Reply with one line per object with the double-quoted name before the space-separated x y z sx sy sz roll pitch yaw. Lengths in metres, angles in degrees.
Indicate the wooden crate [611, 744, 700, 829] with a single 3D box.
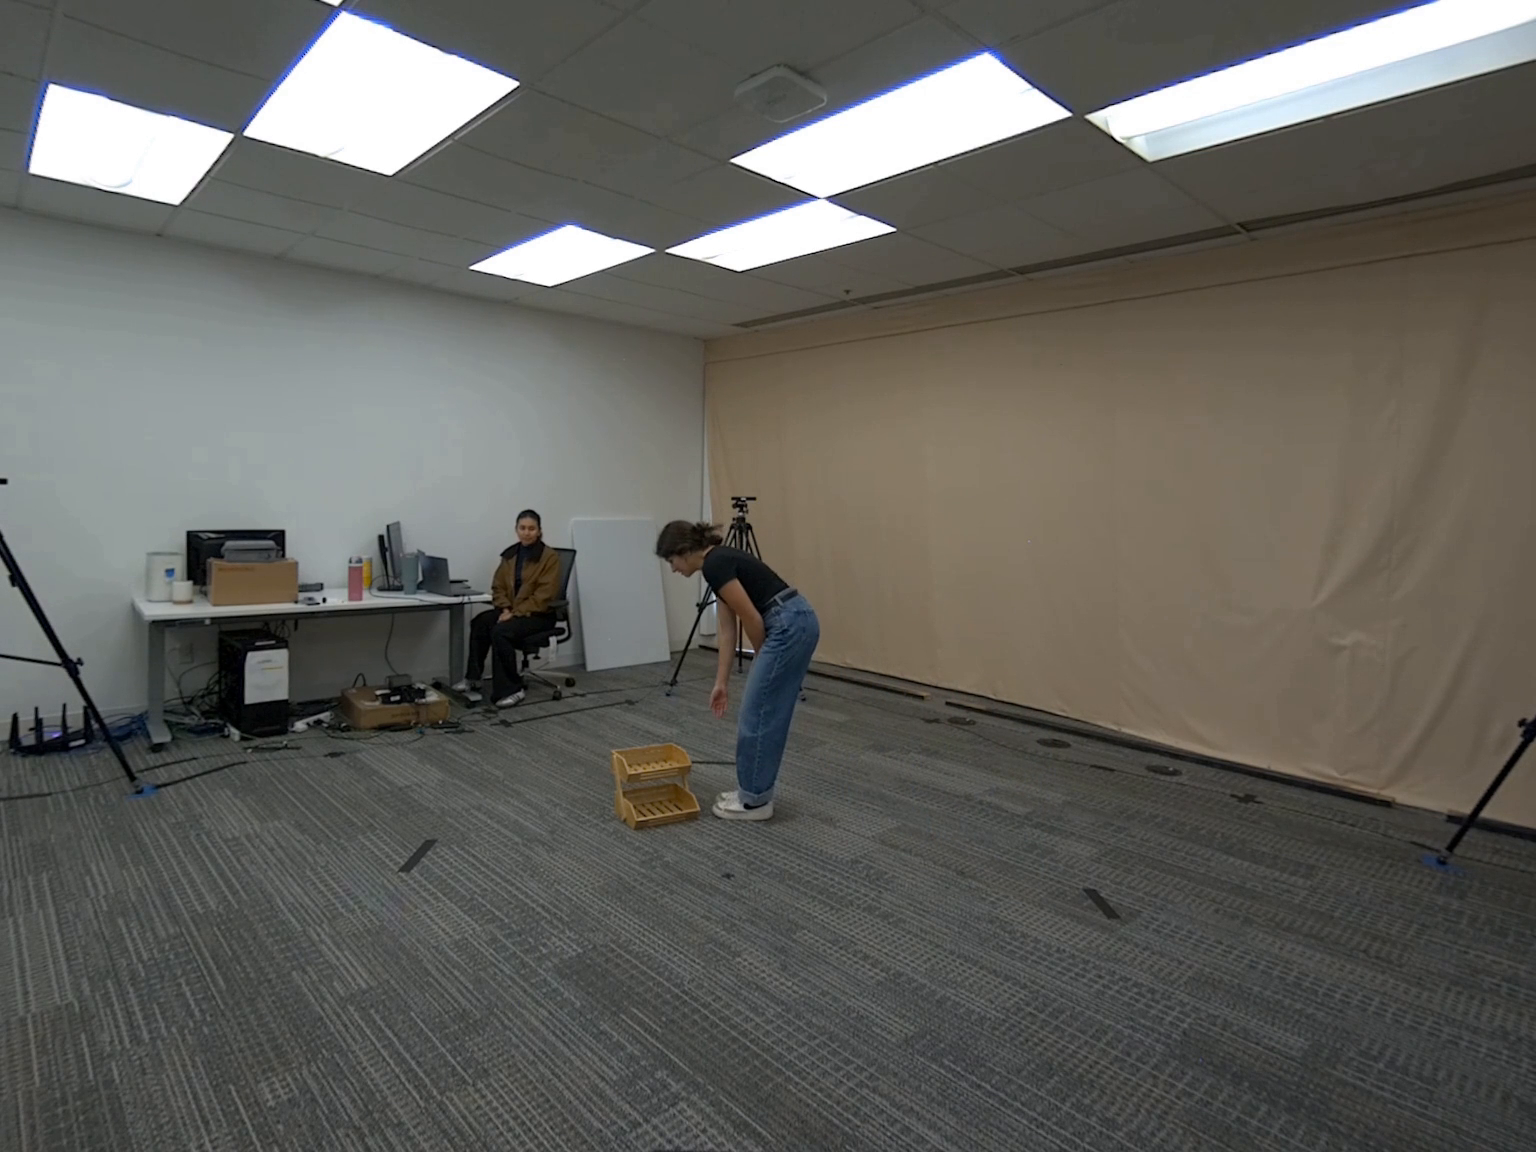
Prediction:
"wooden crate" -0.507 0.915 3.697 0.318 0.273 0.309 0 4 -31
